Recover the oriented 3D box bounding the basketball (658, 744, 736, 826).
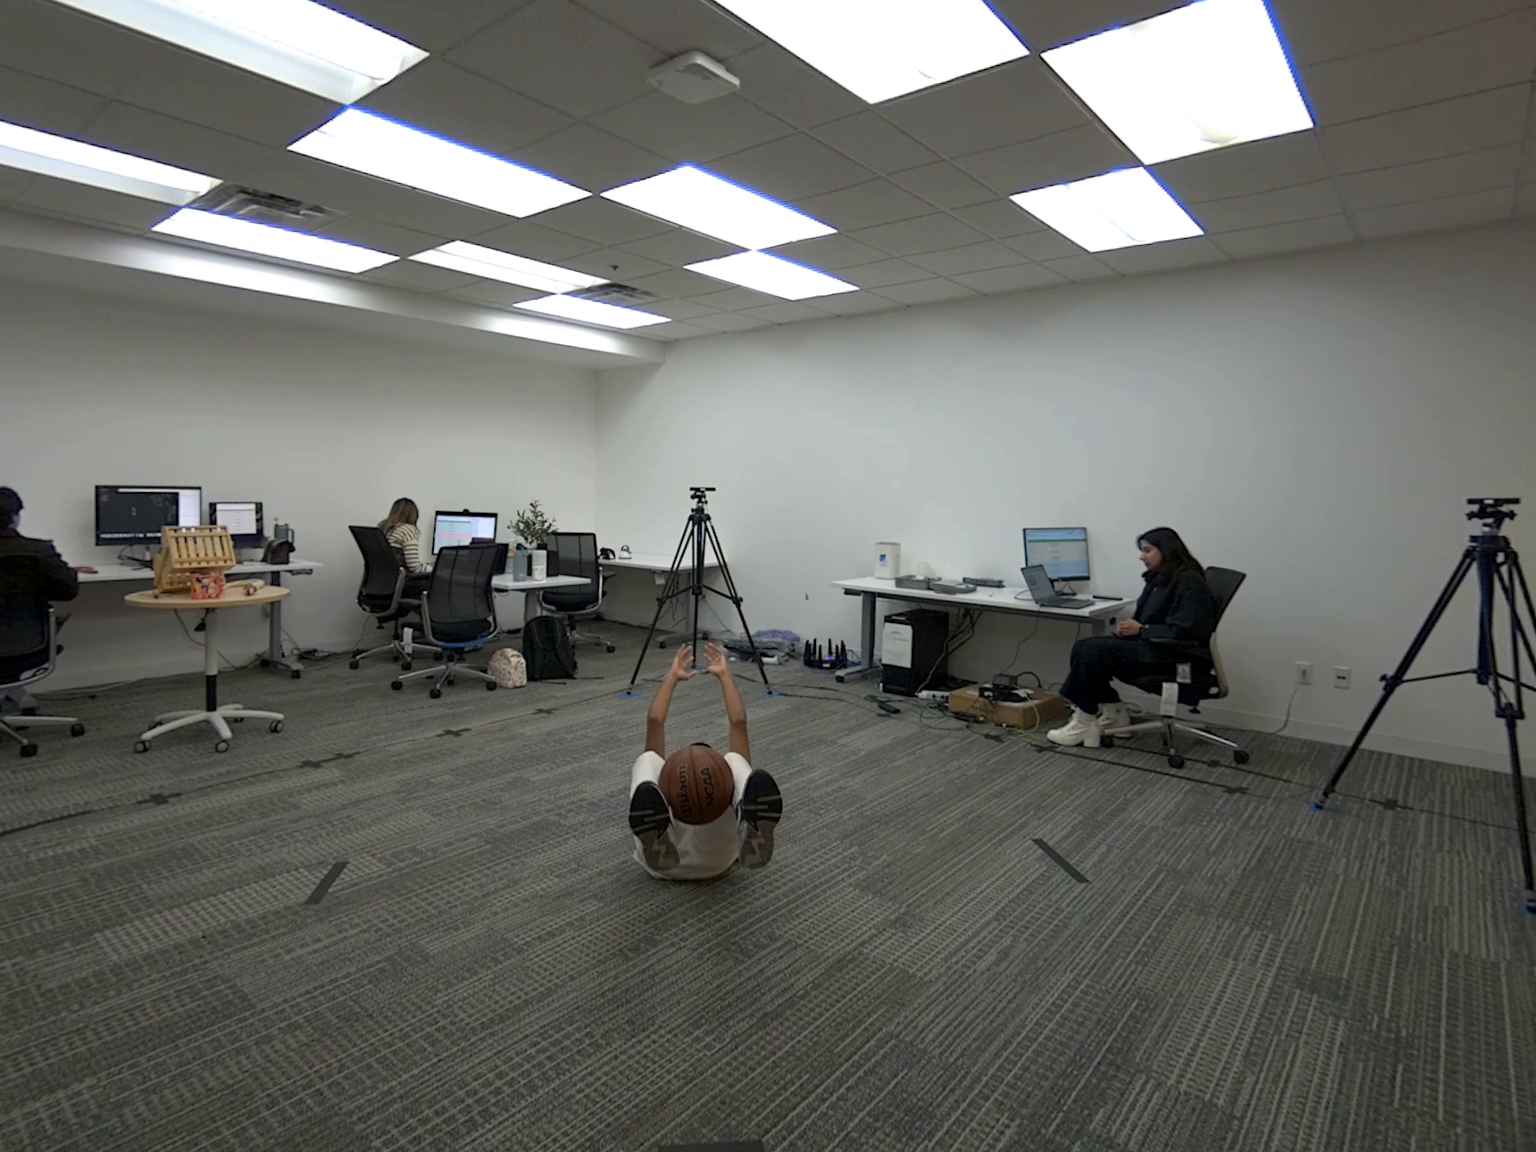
[{"bbox_3d":[-0.233,0.647,2.651,0.235,0.235,0.237,1,4,-2],"label":"basketball"}]
